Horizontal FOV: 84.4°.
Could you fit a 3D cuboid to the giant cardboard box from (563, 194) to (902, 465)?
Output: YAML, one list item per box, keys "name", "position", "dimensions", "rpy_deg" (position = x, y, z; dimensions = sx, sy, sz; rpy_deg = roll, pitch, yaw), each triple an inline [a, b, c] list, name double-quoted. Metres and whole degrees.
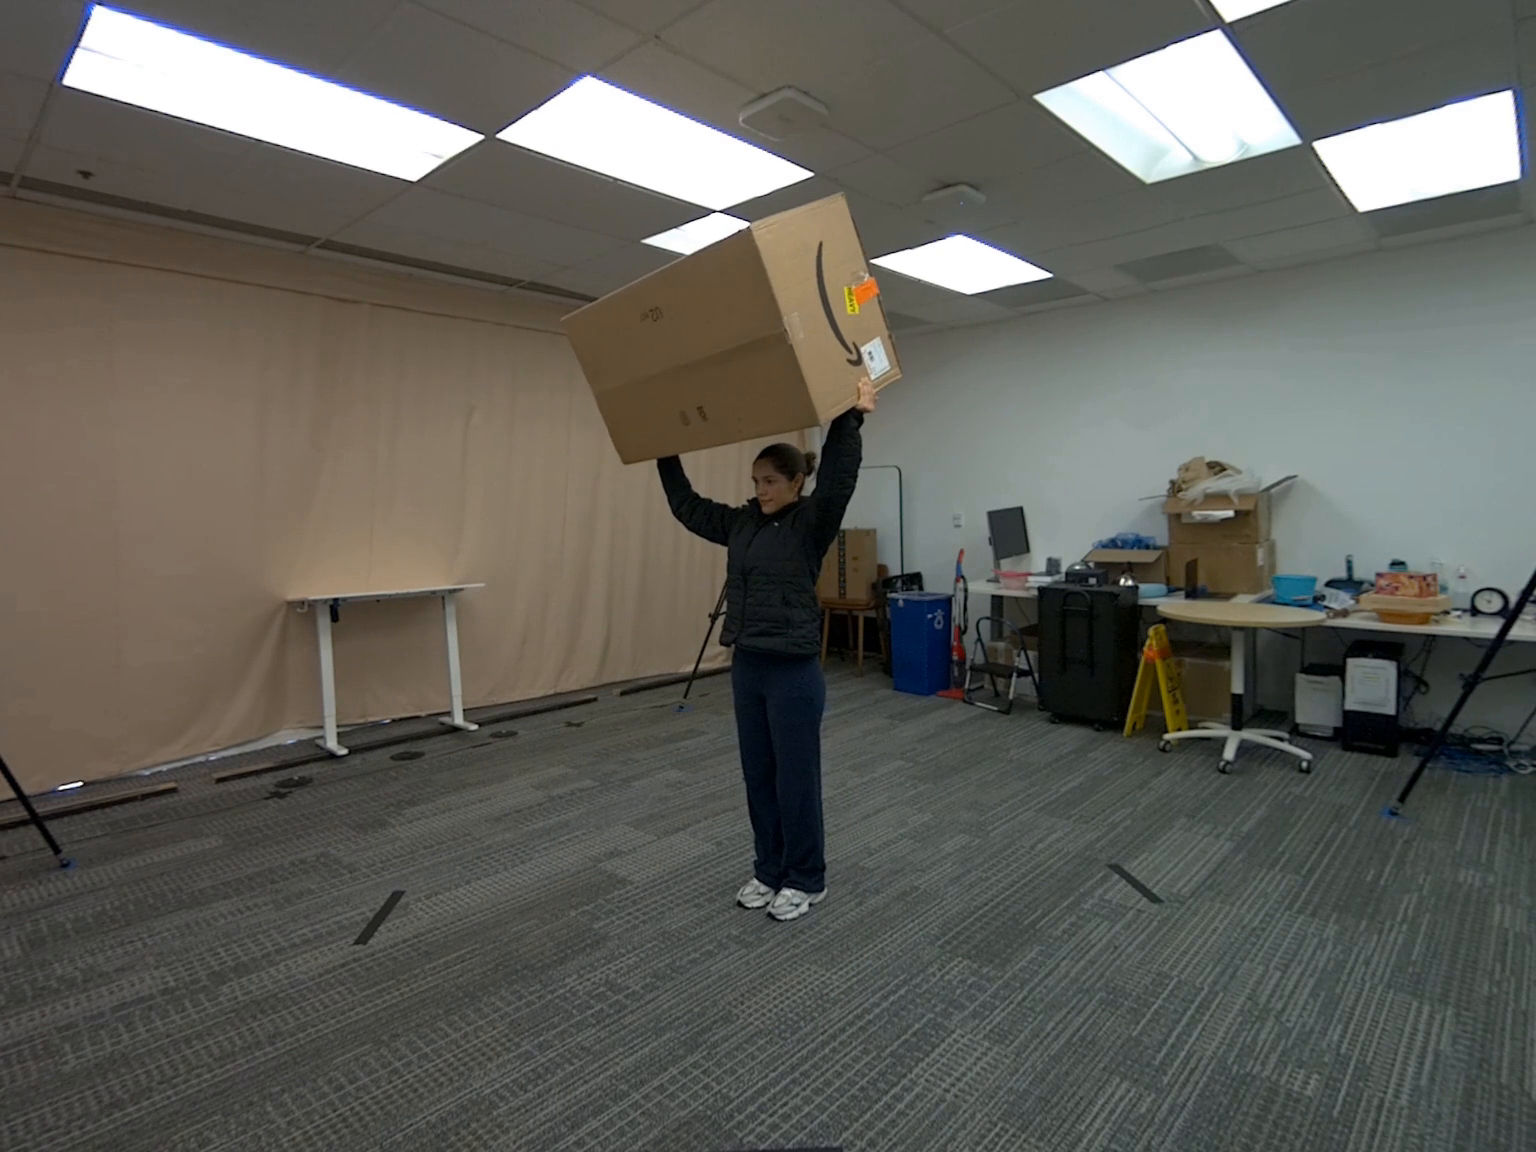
- name: "giant cardboard box"
  position: [-0.142, -0.759, 2.795]
  dimensions: [1.059, 0.575, 0.440]
  rpy_deg: [-1, 25, 48]
